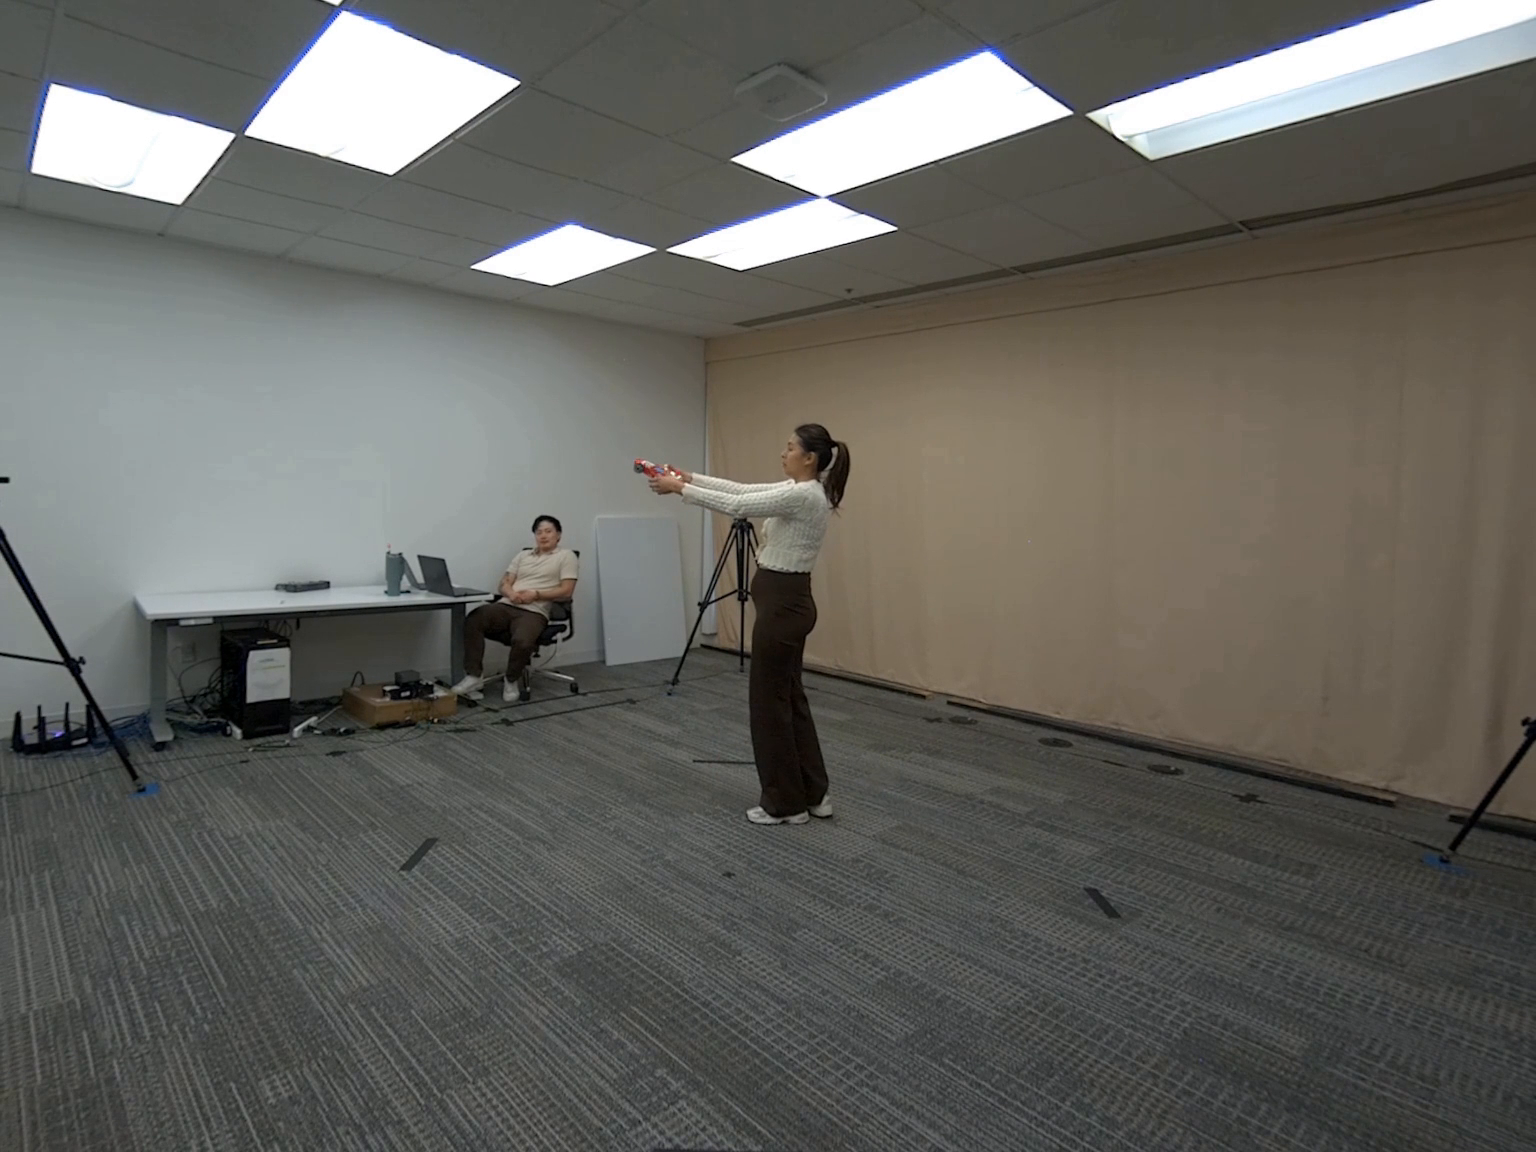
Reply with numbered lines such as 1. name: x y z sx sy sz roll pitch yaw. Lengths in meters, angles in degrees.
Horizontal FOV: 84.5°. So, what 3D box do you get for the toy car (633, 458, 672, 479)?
1. toy car: -0.472 -0.442 3.691 0.256 0.082 0.130 19 15 7
